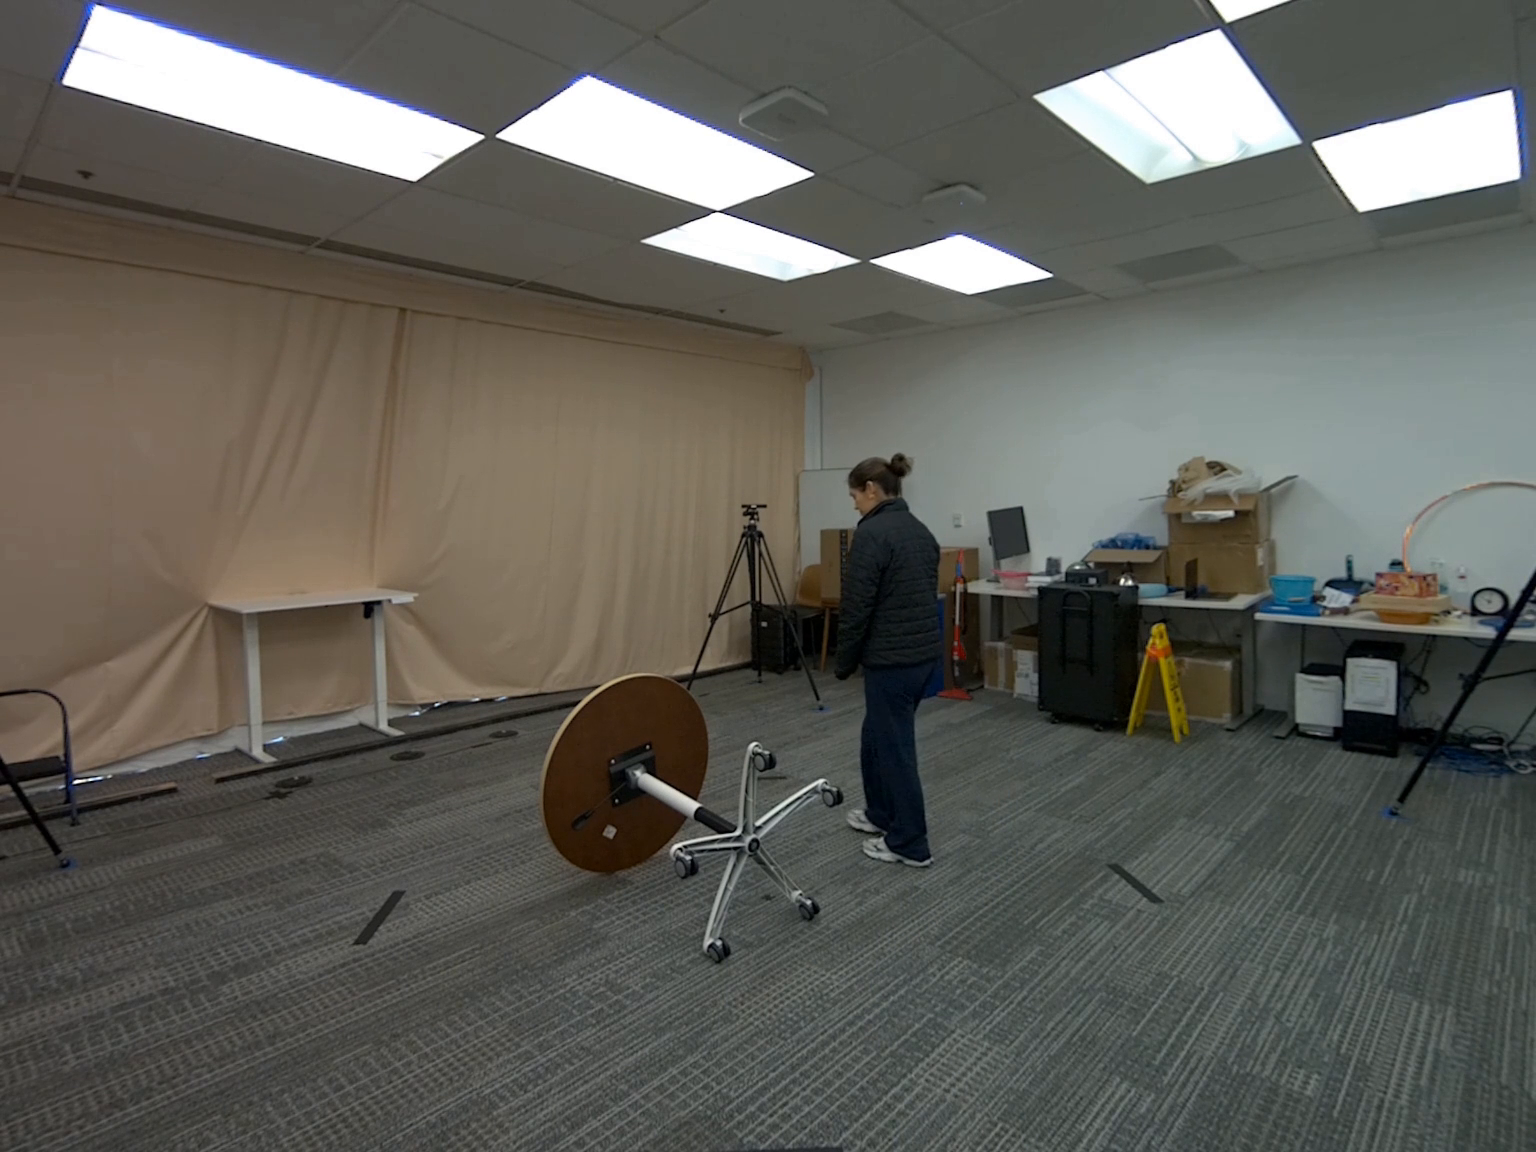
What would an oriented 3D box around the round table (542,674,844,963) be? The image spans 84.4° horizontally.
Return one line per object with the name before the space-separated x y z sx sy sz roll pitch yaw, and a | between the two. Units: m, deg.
round table | -0.250 0.813 2.922 0.761 0.781 0.814 -4 10 -42
